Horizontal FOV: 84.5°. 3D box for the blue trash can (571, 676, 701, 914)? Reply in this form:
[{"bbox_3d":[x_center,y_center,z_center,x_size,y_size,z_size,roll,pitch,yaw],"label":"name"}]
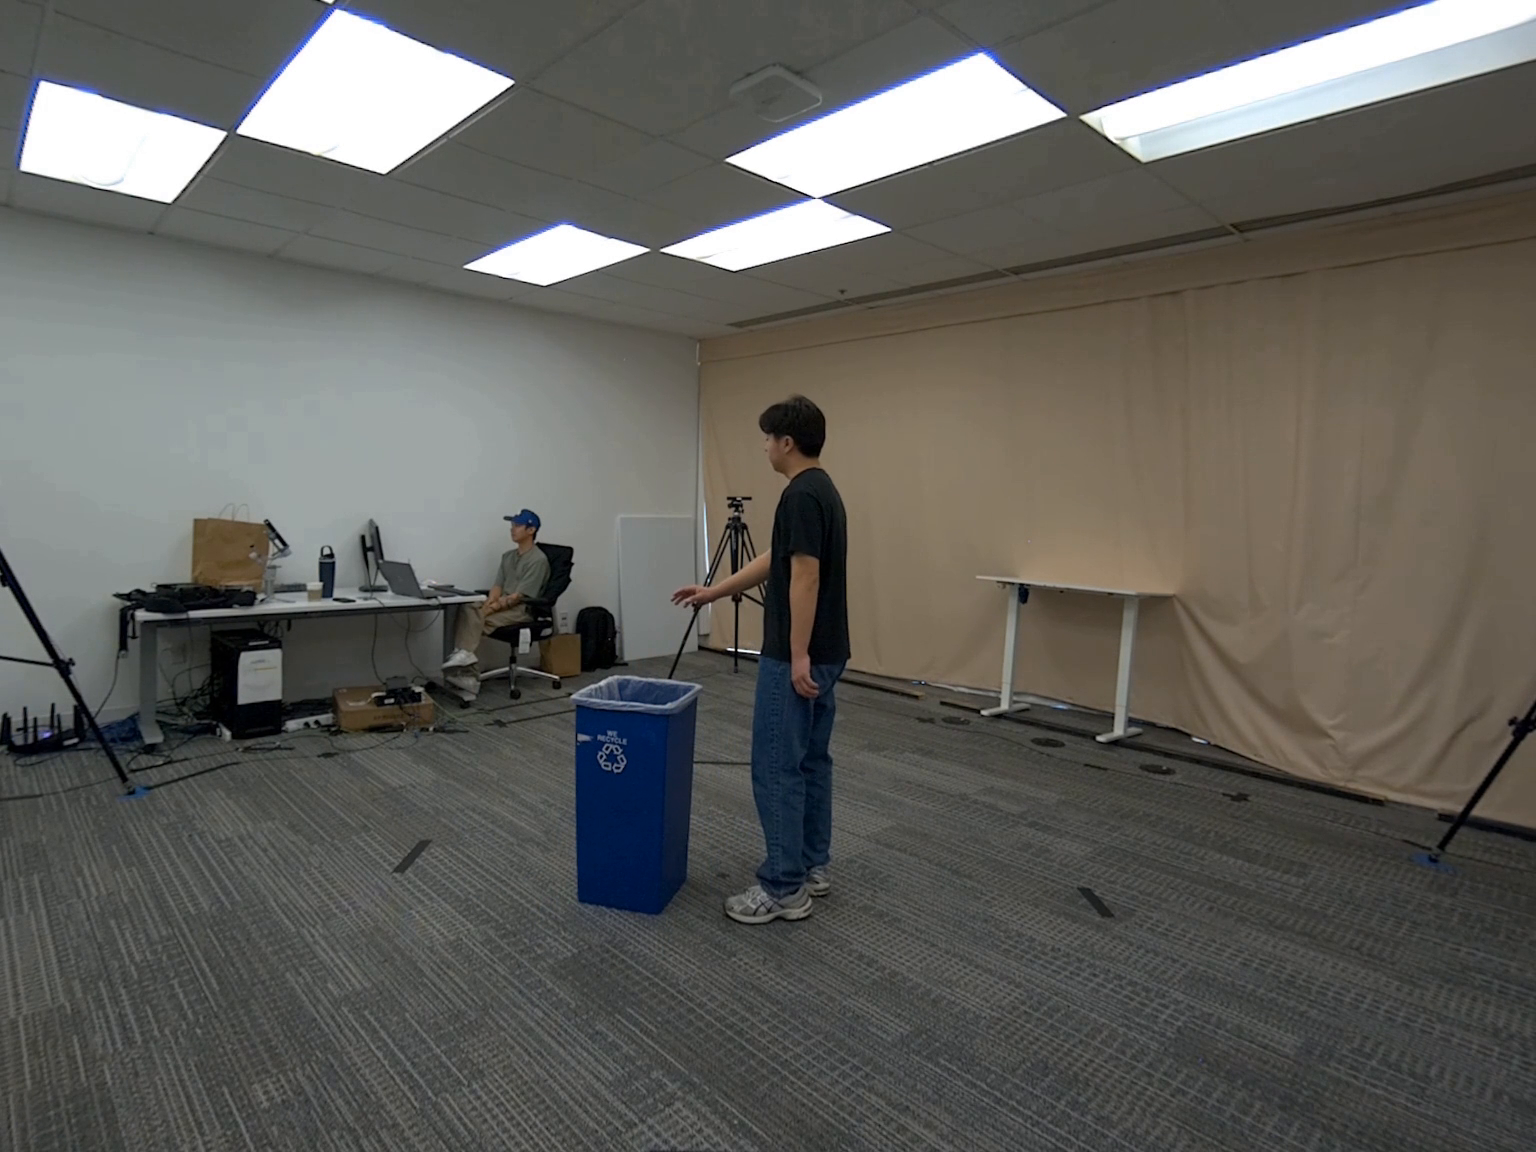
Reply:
[{"bbox_3d":[-0.467,0.752,2.959,0.379,0.712,0.374,4,4,14],"label":"blue trash can"}]
